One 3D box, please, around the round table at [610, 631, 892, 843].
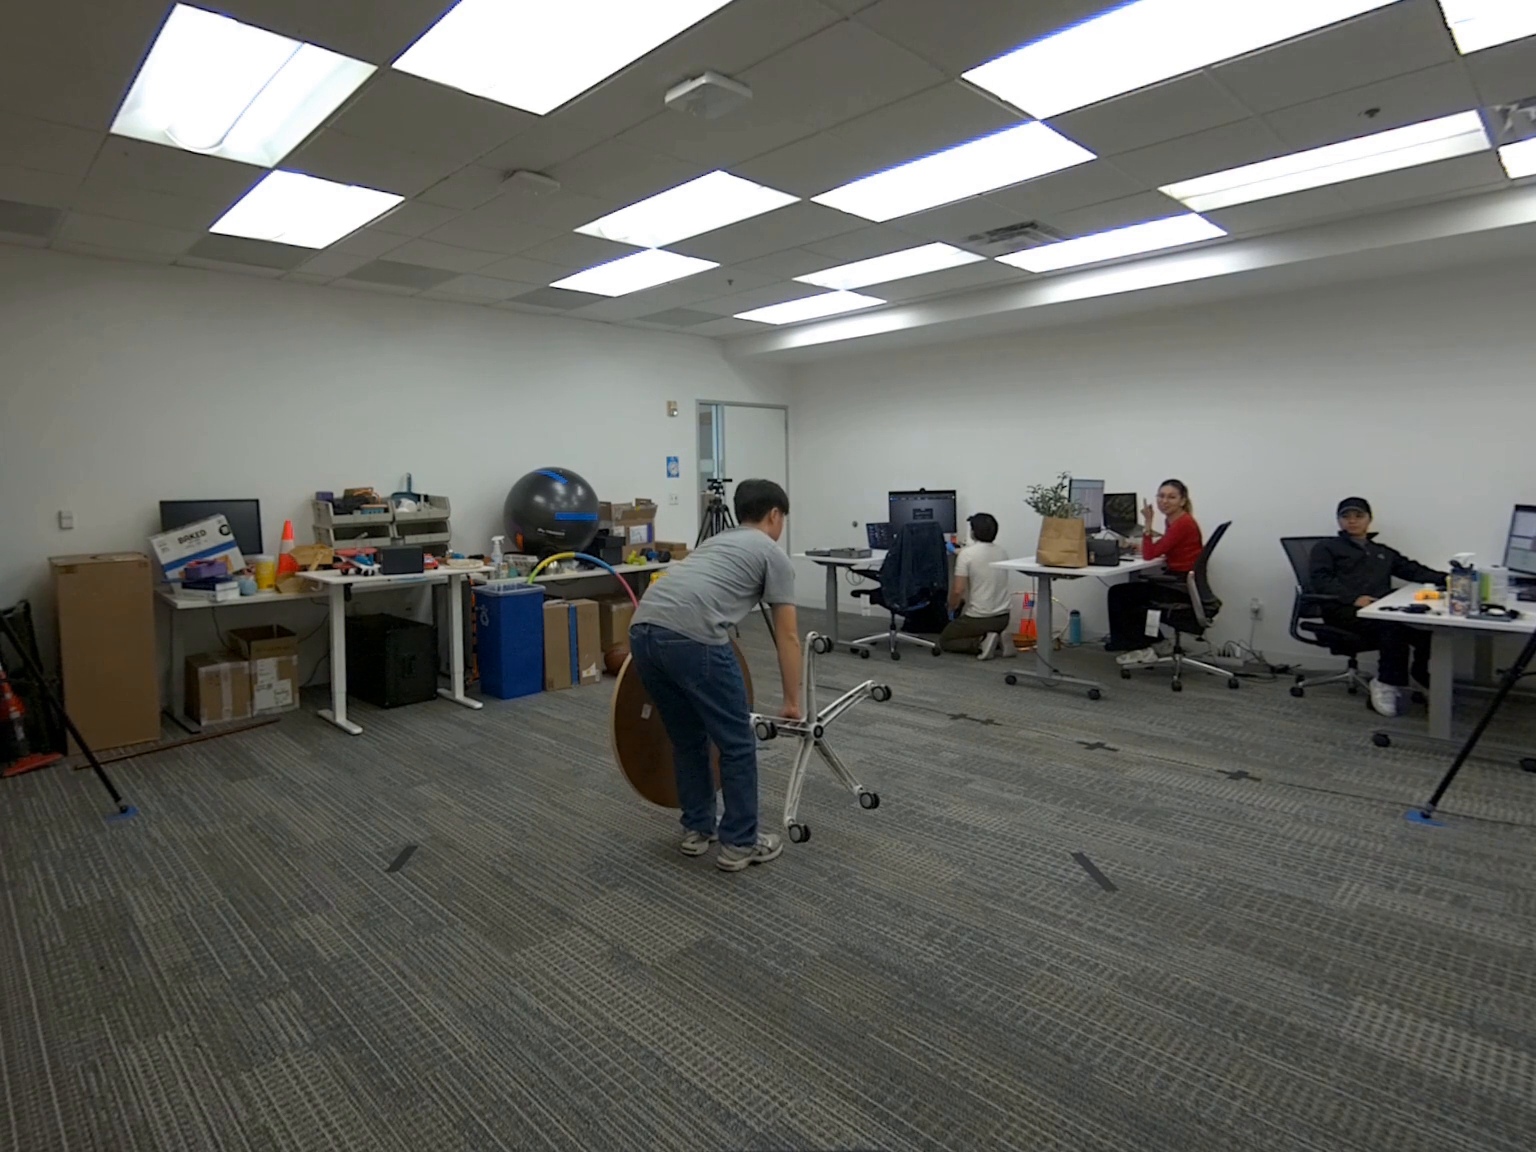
[{"bbox_3d":[-0.049,0.553,3.236,0.816,0.763,0.744,-1,3,44],"label":"round table"}]
